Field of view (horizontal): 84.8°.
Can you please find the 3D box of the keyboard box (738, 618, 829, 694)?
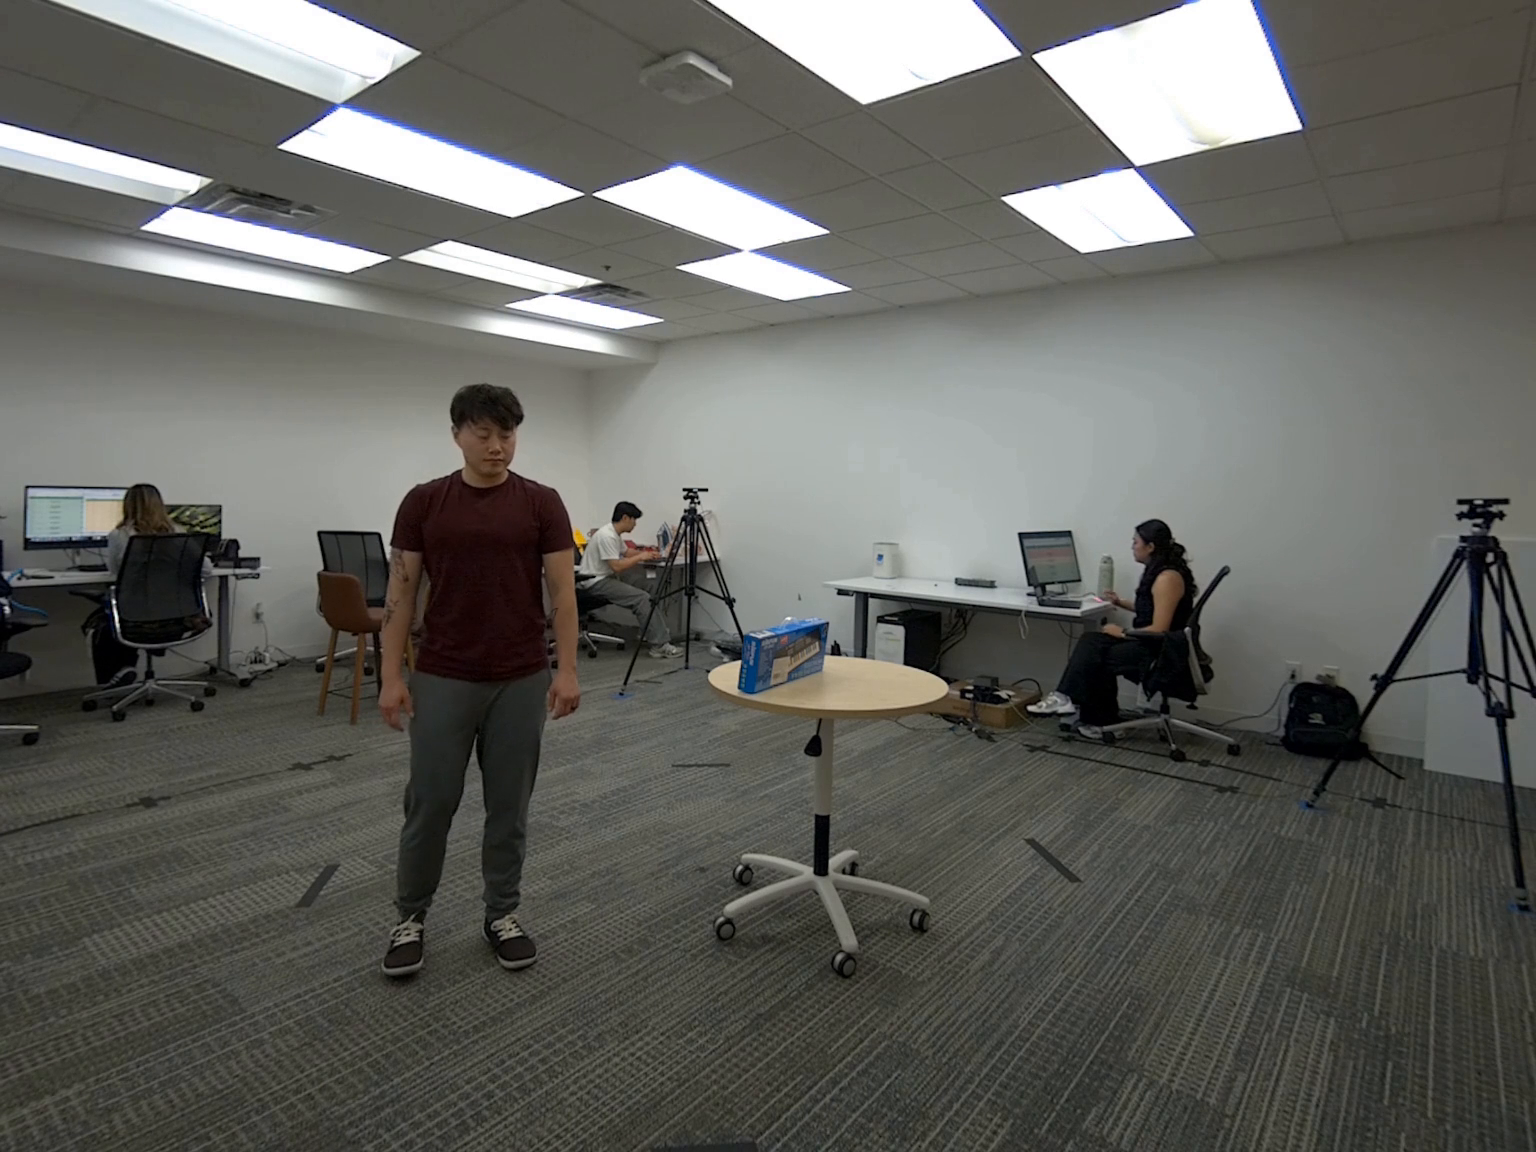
[{"bbox_3d":[0.052,0.248,2.704,0.061,0.175,0.425,12,11,31],"label":"keyboard box"}]
